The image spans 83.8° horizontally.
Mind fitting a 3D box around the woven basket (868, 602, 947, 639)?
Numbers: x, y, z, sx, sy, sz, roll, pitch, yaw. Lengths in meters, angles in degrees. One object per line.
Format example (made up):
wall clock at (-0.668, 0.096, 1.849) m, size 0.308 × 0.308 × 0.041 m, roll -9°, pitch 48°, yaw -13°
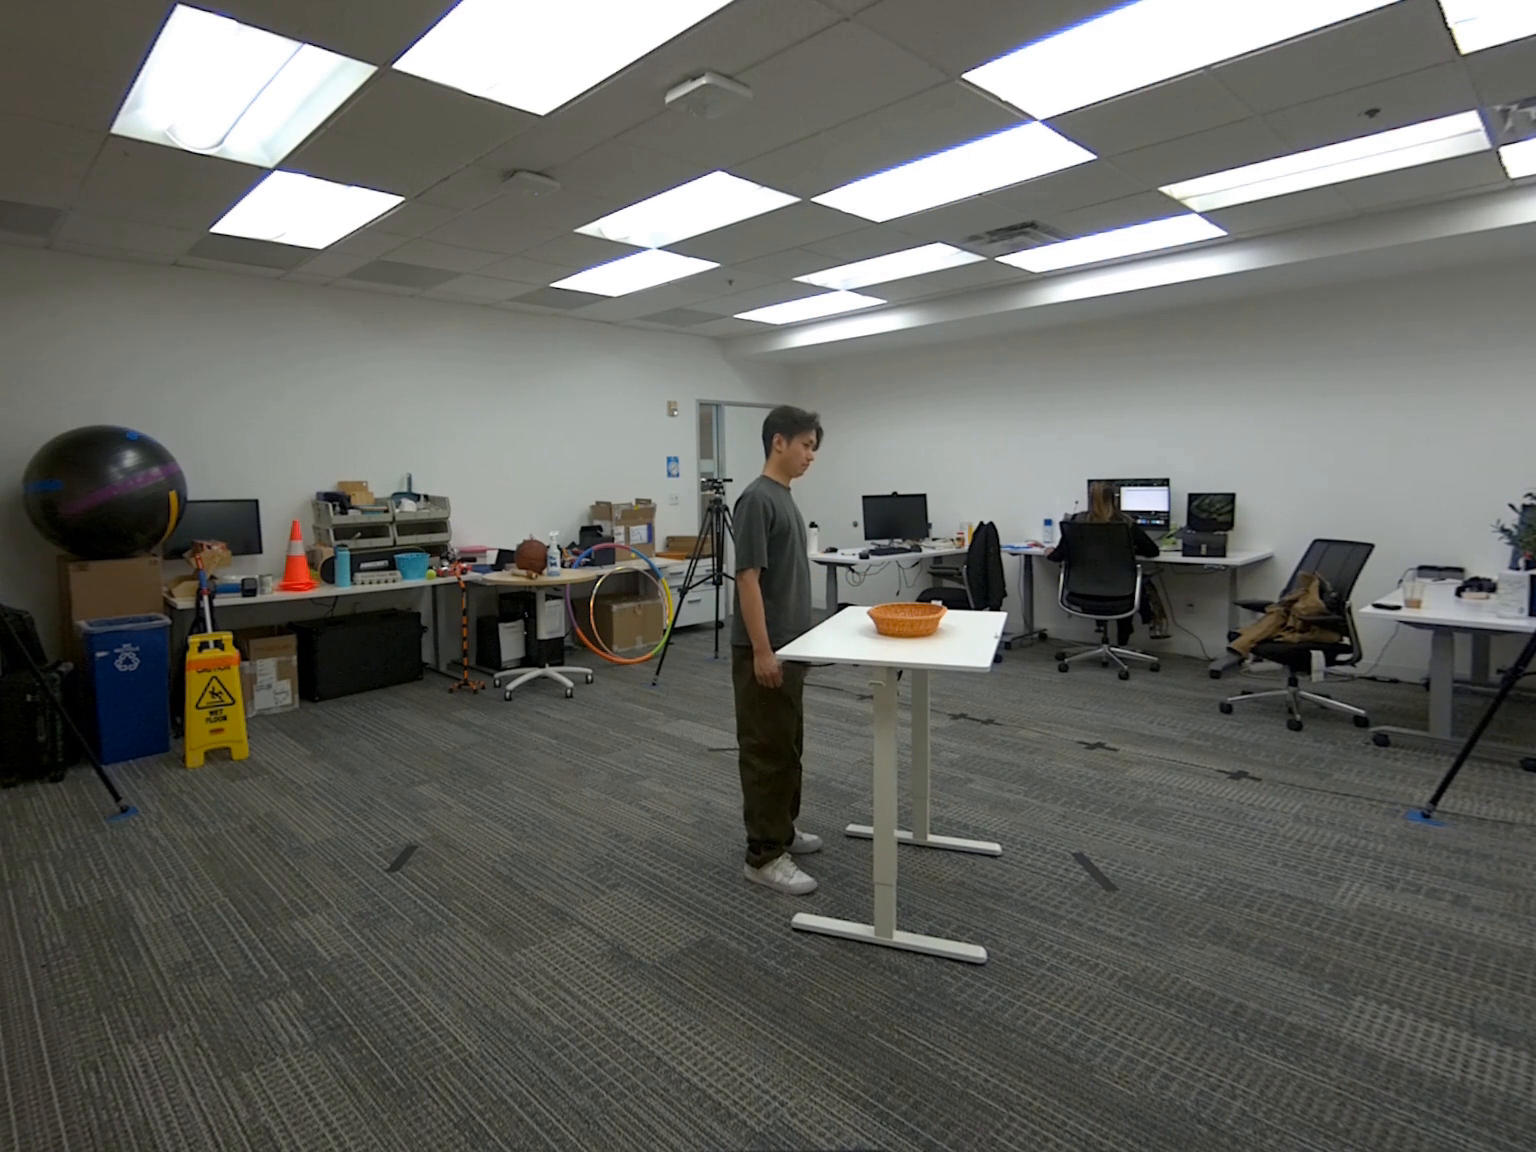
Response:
woven basket at (0.471, 0.151, 2.845) m, size 0.258 × 0.073 × 0.344 m, roll 3°, pitch 7°, yaw 24°
